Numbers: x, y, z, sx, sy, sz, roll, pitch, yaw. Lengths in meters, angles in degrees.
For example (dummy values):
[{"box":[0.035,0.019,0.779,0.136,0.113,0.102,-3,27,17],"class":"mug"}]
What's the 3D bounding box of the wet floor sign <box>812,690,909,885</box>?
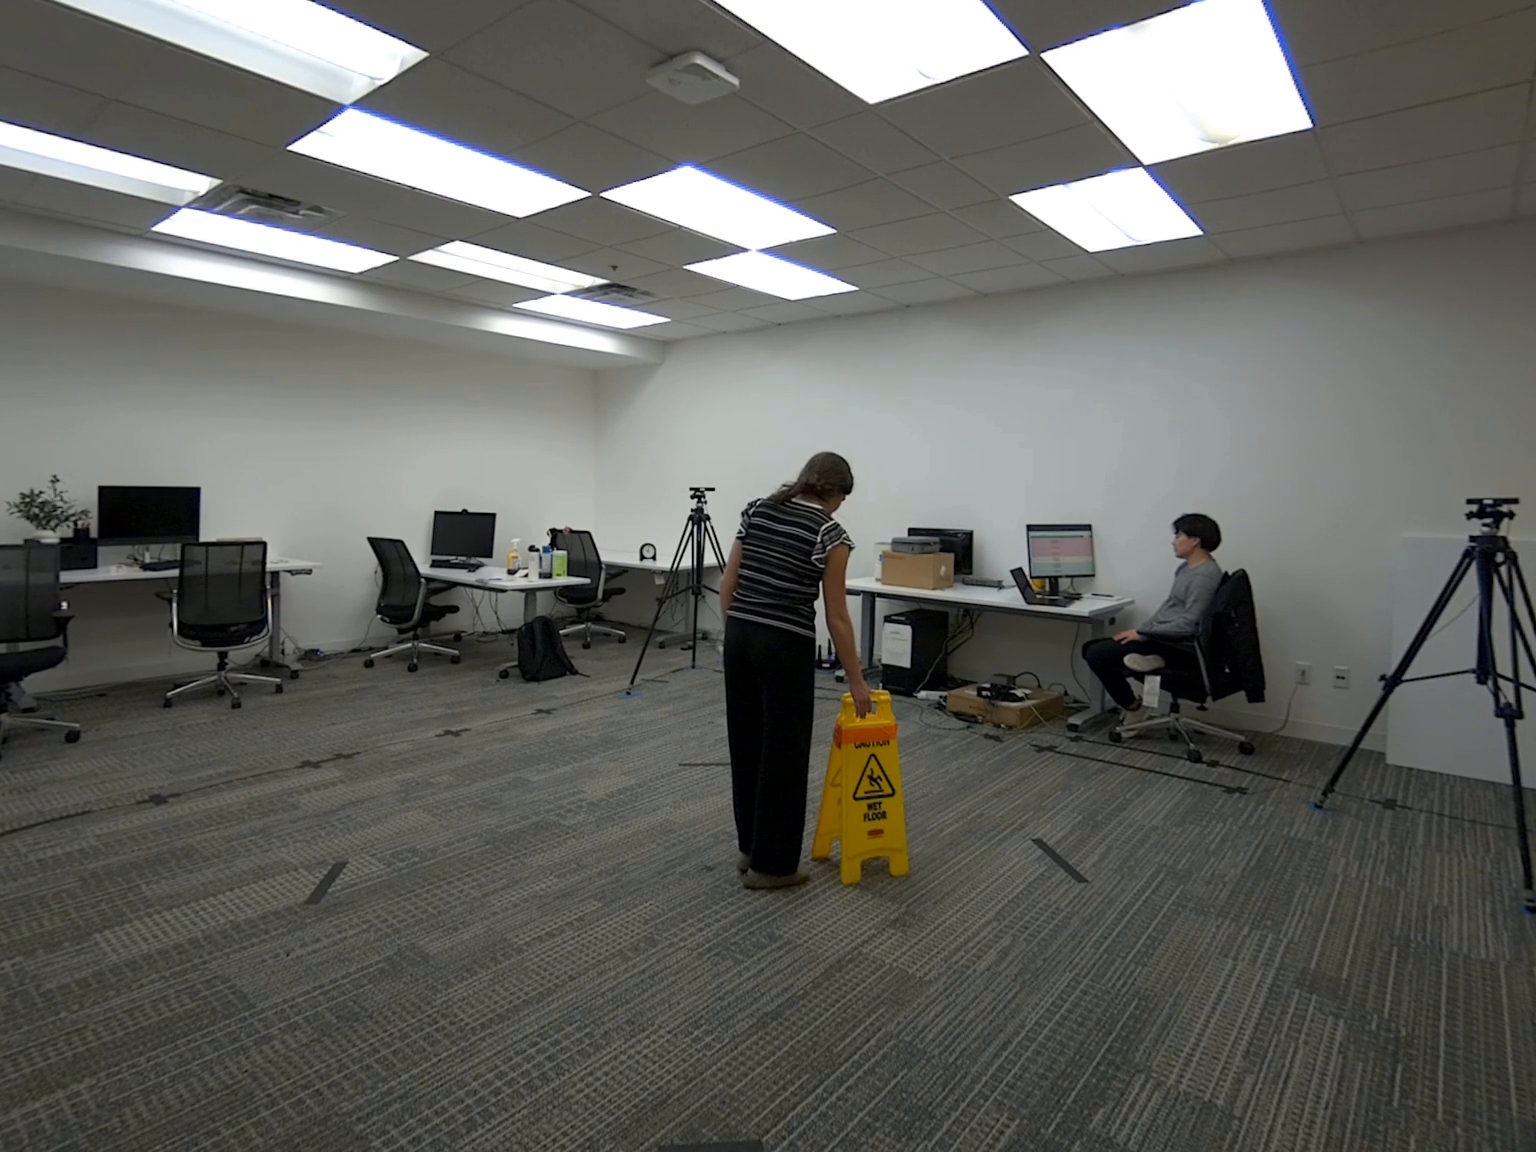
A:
[{"box":[0.343,0.751,3.143,0.276,0.644,0.297,1,3,-23],"class":"wet floor sign"}]
